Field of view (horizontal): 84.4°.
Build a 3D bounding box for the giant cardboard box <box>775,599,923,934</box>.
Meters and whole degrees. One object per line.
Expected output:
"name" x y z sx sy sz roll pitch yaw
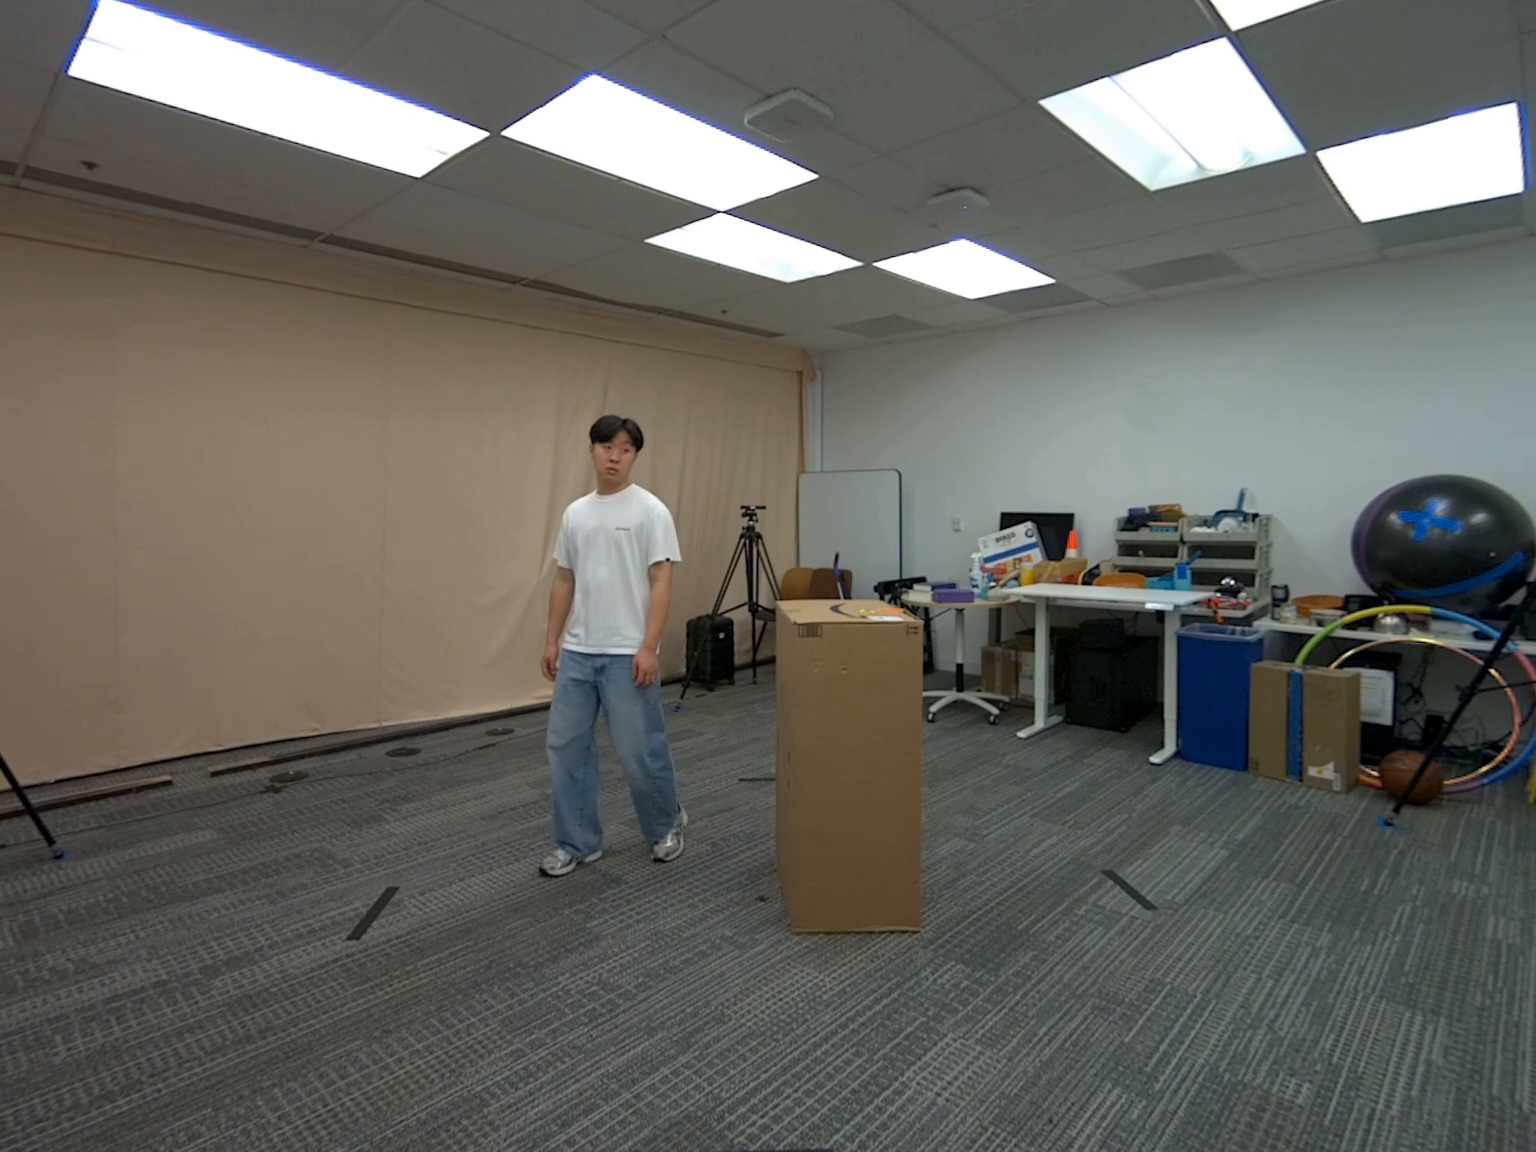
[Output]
"giant cardboard box" 0.273 0.635 2.992 0.425 1.024 0.580 0 3 -4
